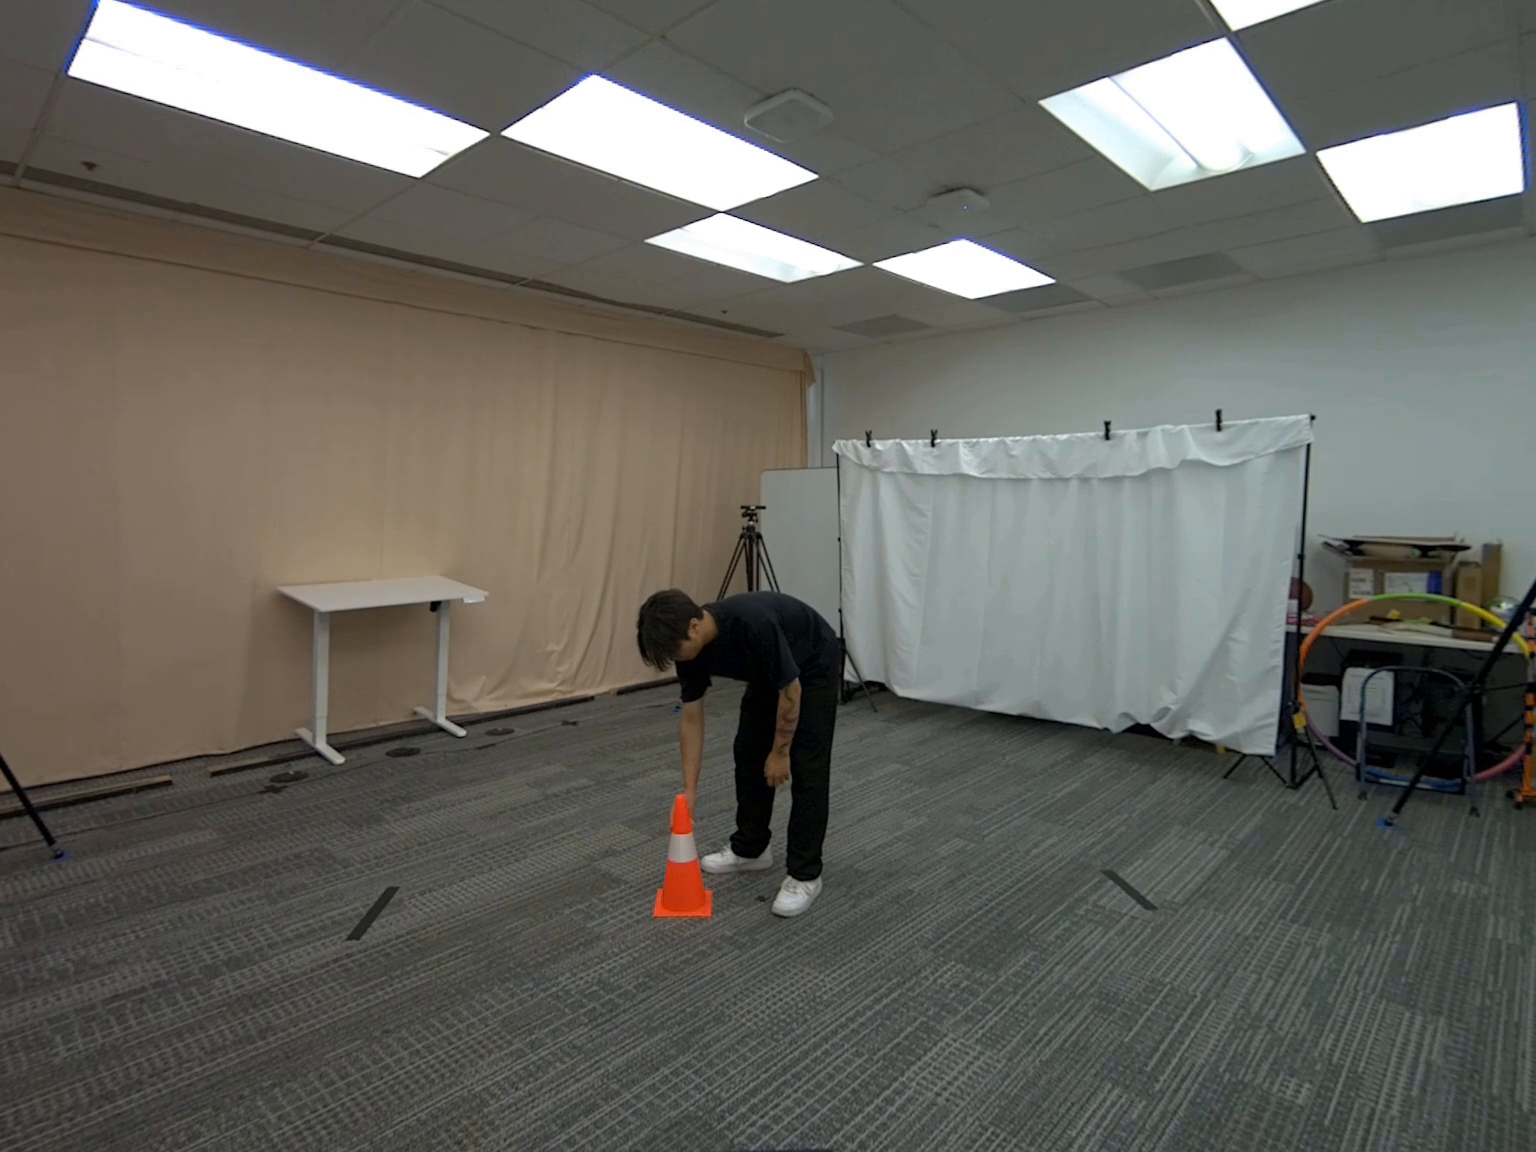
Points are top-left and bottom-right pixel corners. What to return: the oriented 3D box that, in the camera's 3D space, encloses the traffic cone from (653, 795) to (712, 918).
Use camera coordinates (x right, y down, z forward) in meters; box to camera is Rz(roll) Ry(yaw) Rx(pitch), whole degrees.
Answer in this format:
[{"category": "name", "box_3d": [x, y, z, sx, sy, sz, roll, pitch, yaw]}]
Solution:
[{"category": "traffic cone", "box_3d": [-0.296, 0.960, 2.938, 0.203, 0.382, 0.206, -1, 5, -1]}]
